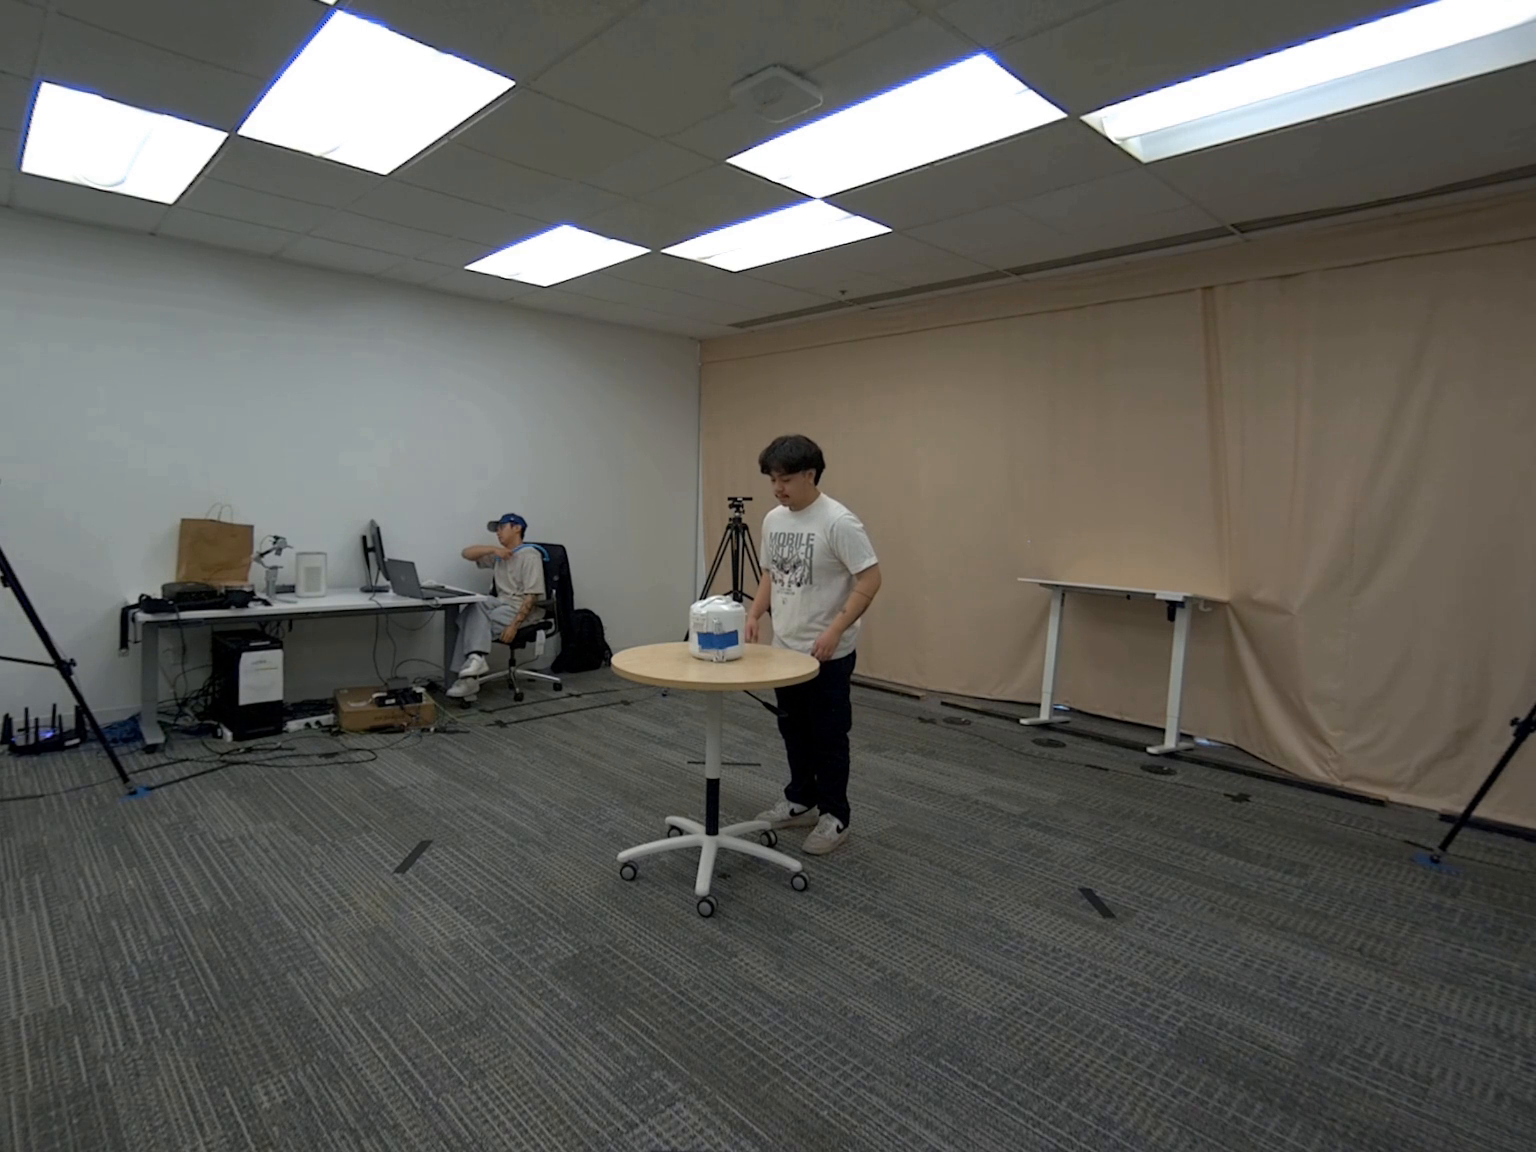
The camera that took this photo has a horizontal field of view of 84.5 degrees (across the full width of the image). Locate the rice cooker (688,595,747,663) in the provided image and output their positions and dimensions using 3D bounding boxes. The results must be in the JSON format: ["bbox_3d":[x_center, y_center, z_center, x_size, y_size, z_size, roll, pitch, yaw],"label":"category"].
[{"bbox_3d":[-0.199,0.186,3.147,0.223,0.232,0.216,6,6,38],"label":"rice cooker"}]
